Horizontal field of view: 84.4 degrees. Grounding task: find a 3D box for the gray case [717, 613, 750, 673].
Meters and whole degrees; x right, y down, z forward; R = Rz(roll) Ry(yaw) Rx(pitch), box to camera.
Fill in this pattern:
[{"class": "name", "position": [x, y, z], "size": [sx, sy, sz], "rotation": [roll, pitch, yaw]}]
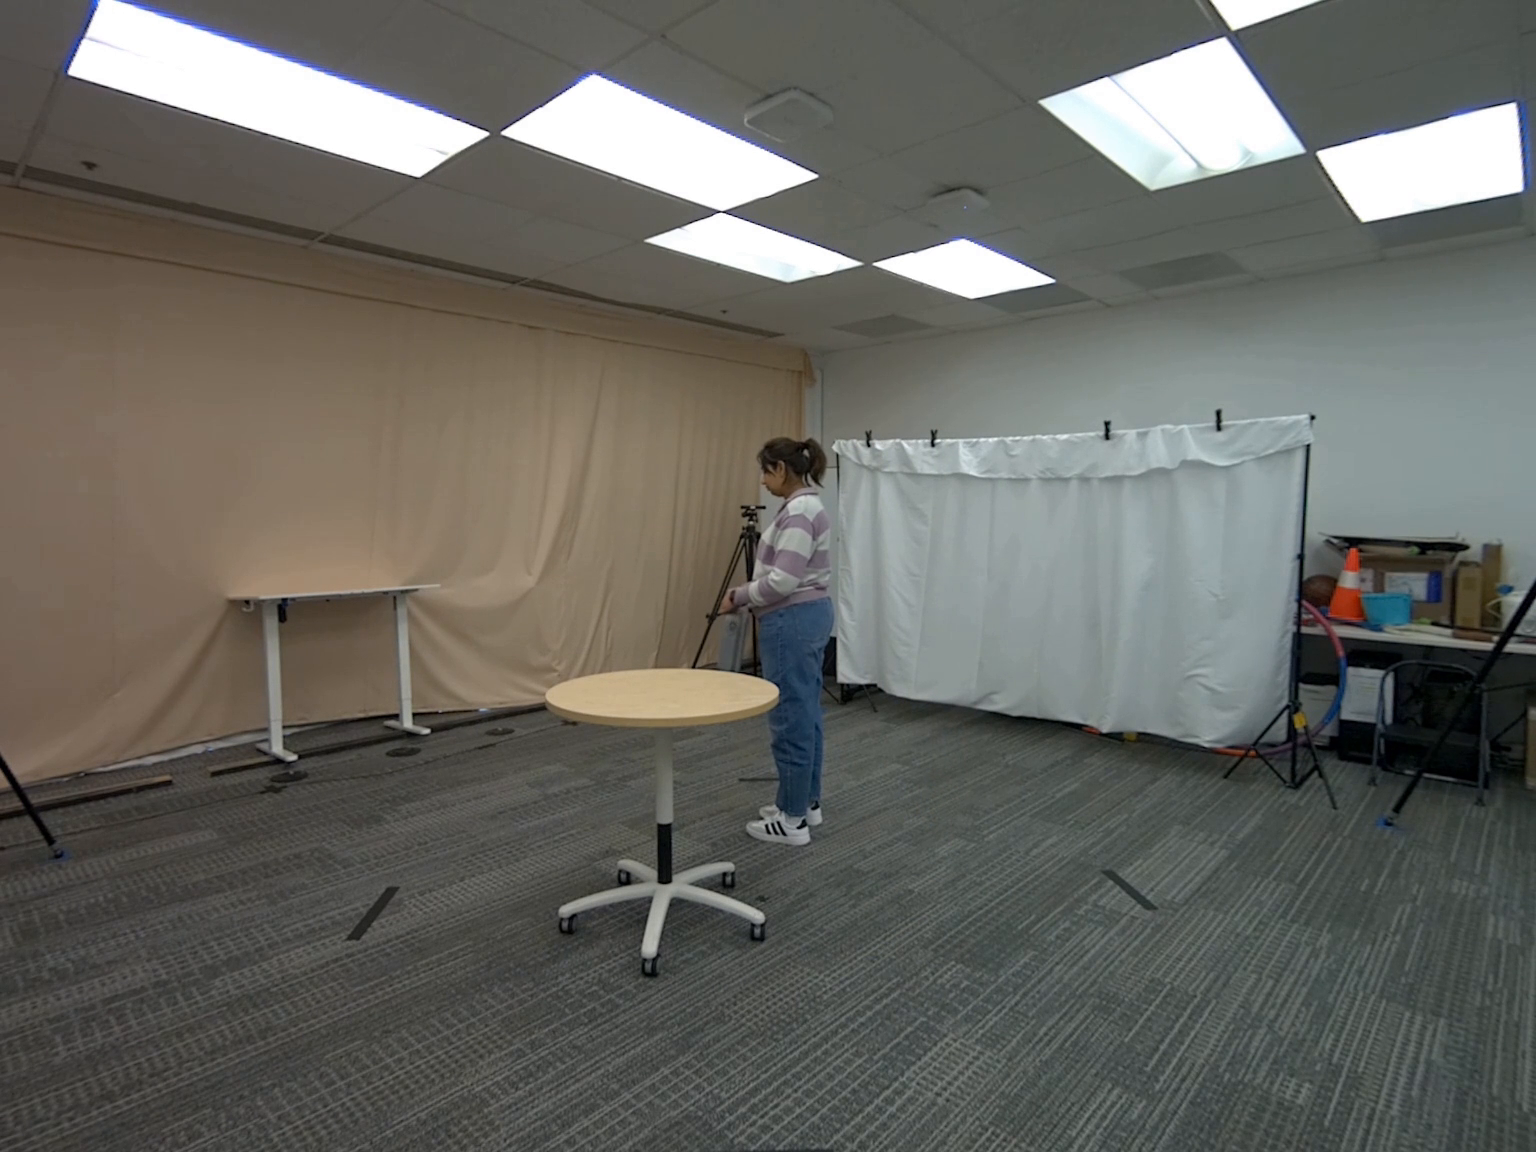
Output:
[{"class": "gray case", "position": [-0.150, 0.279, 3.648], "size": [0.104, 0.260, 0.257], "rotation": [8, 0, -2]}]
